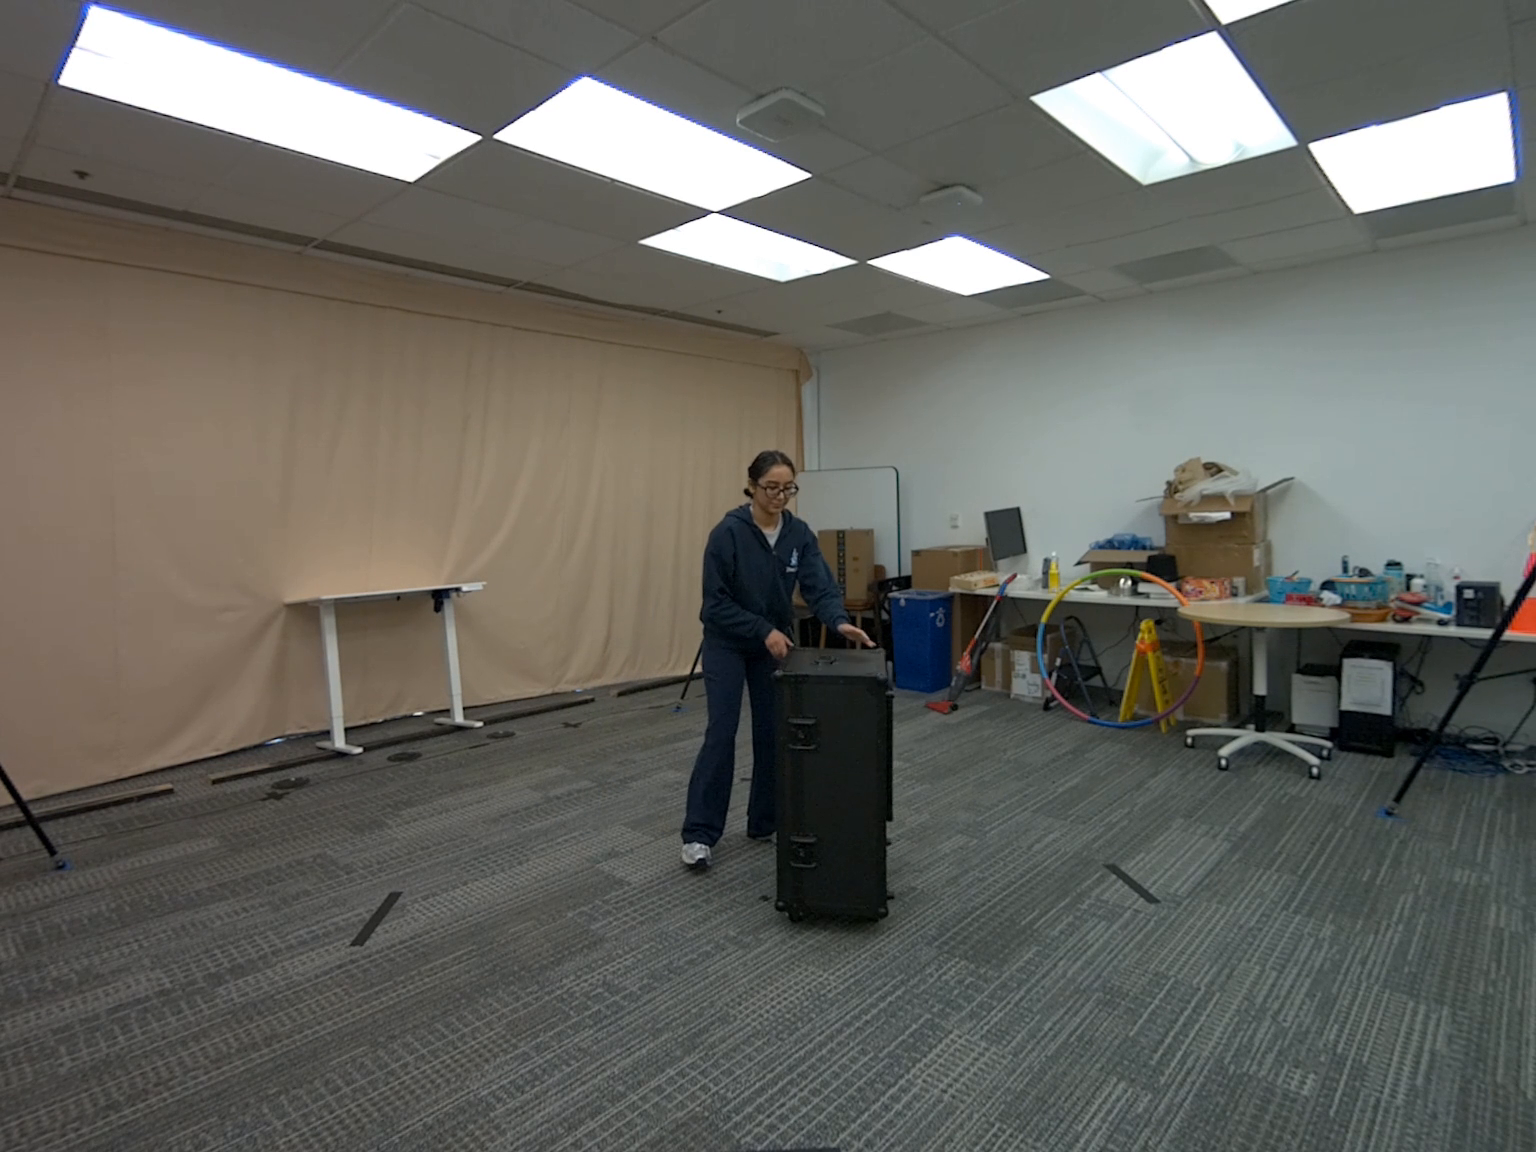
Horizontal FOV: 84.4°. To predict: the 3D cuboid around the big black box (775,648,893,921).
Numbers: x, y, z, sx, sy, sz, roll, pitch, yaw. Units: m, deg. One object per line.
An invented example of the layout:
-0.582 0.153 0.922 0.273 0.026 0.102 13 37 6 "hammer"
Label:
0.249 0.716 2.924 0.400 0.859 0.517 0 4 8 "big black box"
